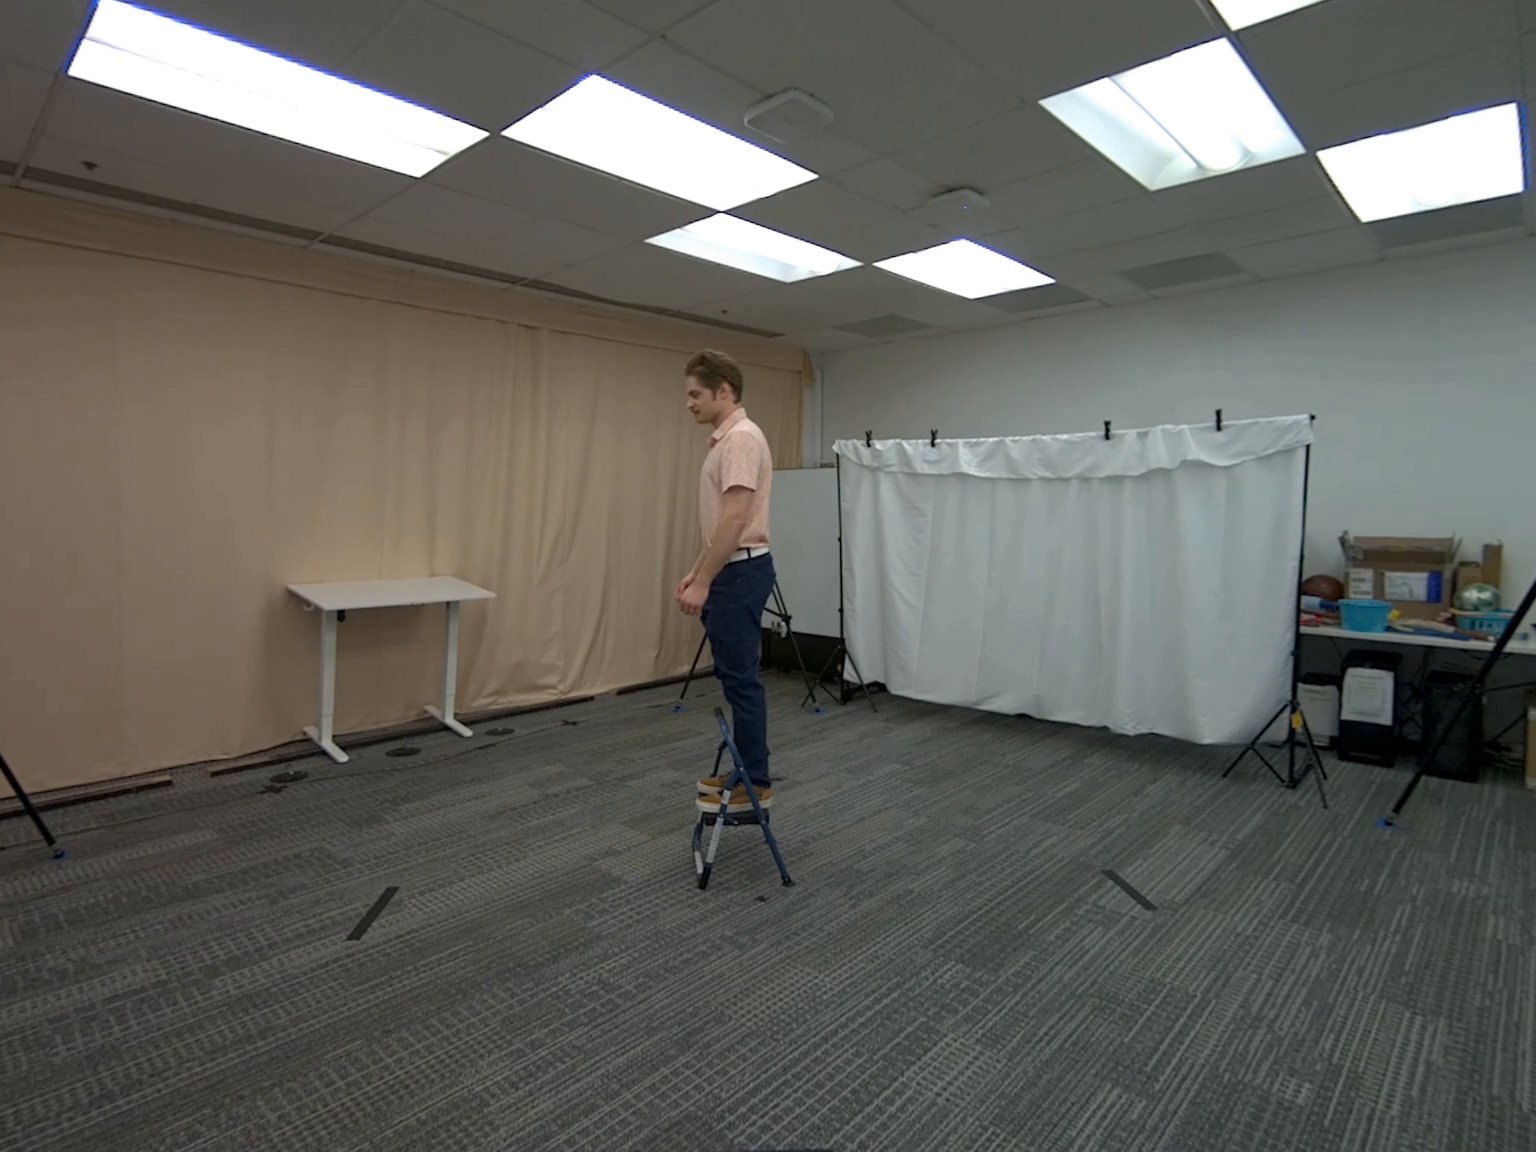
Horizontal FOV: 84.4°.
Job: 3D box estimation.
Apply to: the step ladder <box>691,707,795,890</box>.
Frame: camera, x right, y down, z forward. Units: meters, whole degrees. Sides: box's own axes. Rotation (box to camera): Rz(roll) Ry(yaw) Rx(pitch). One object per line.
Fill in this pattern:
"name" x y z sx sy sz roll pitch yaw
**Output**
"step ladder" -0.114 0.821 3.259 0.346 0.605 0.435 0 3 -9
